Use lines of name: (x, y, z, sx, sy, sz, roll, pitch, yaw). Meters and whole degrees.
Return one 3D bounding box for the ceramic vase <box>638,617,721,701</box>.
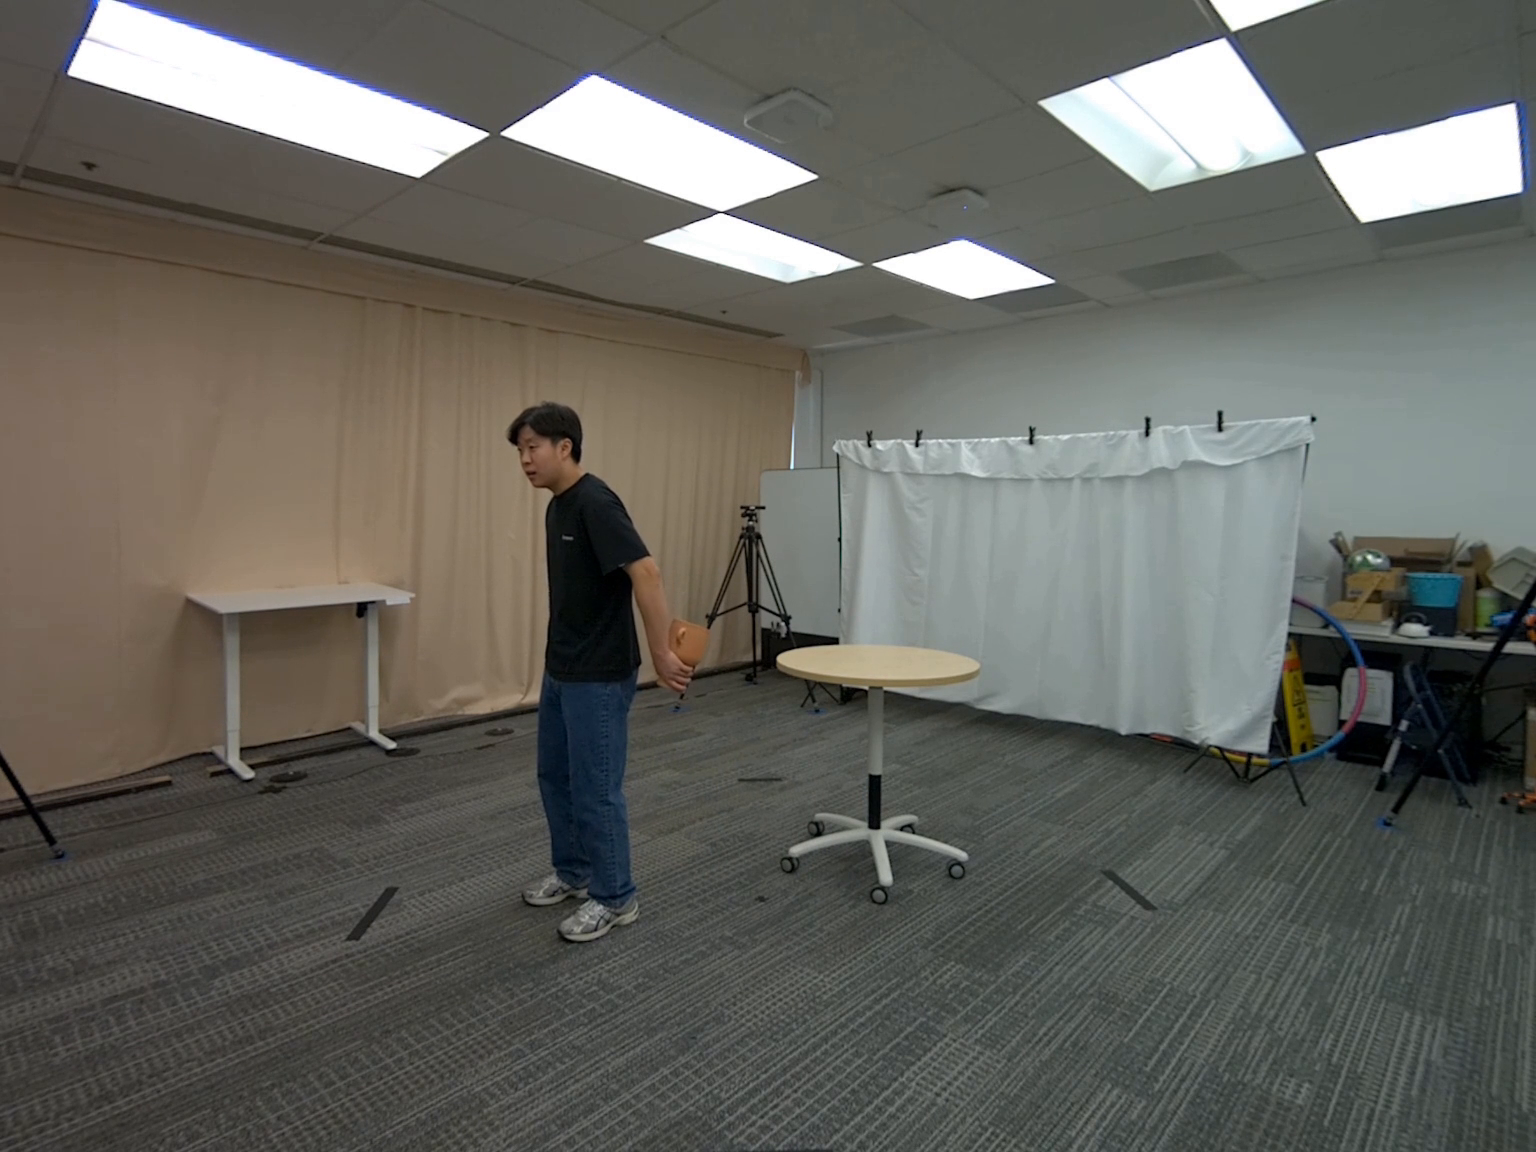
ceramic vase: (-0.285, 0.260, 2.720, 0.153, 0.220, 0.139, 22, -8, -36)
